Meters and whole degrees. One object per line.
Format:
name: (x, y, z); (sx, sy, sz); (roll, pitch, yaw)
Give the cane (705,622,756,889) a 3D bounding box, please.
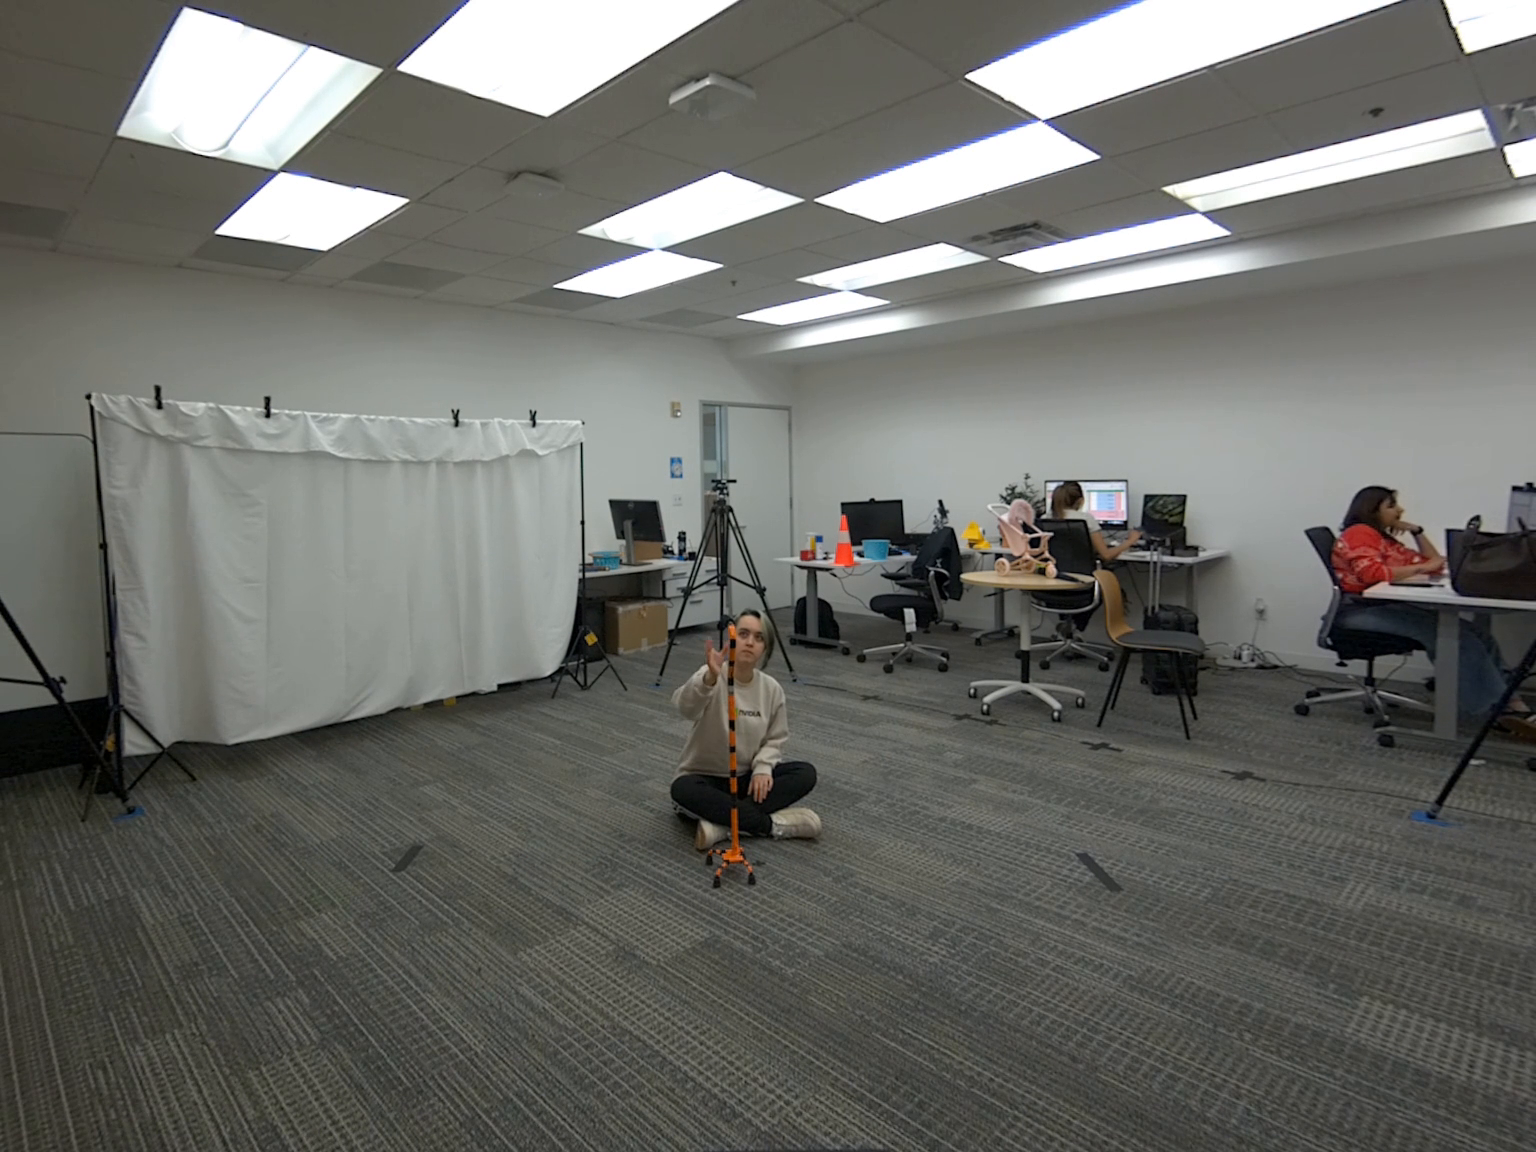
cane: (-0.143, 0.611, 3.013); (0.150, 0.905, 0.209); (-4, 3, -10)
